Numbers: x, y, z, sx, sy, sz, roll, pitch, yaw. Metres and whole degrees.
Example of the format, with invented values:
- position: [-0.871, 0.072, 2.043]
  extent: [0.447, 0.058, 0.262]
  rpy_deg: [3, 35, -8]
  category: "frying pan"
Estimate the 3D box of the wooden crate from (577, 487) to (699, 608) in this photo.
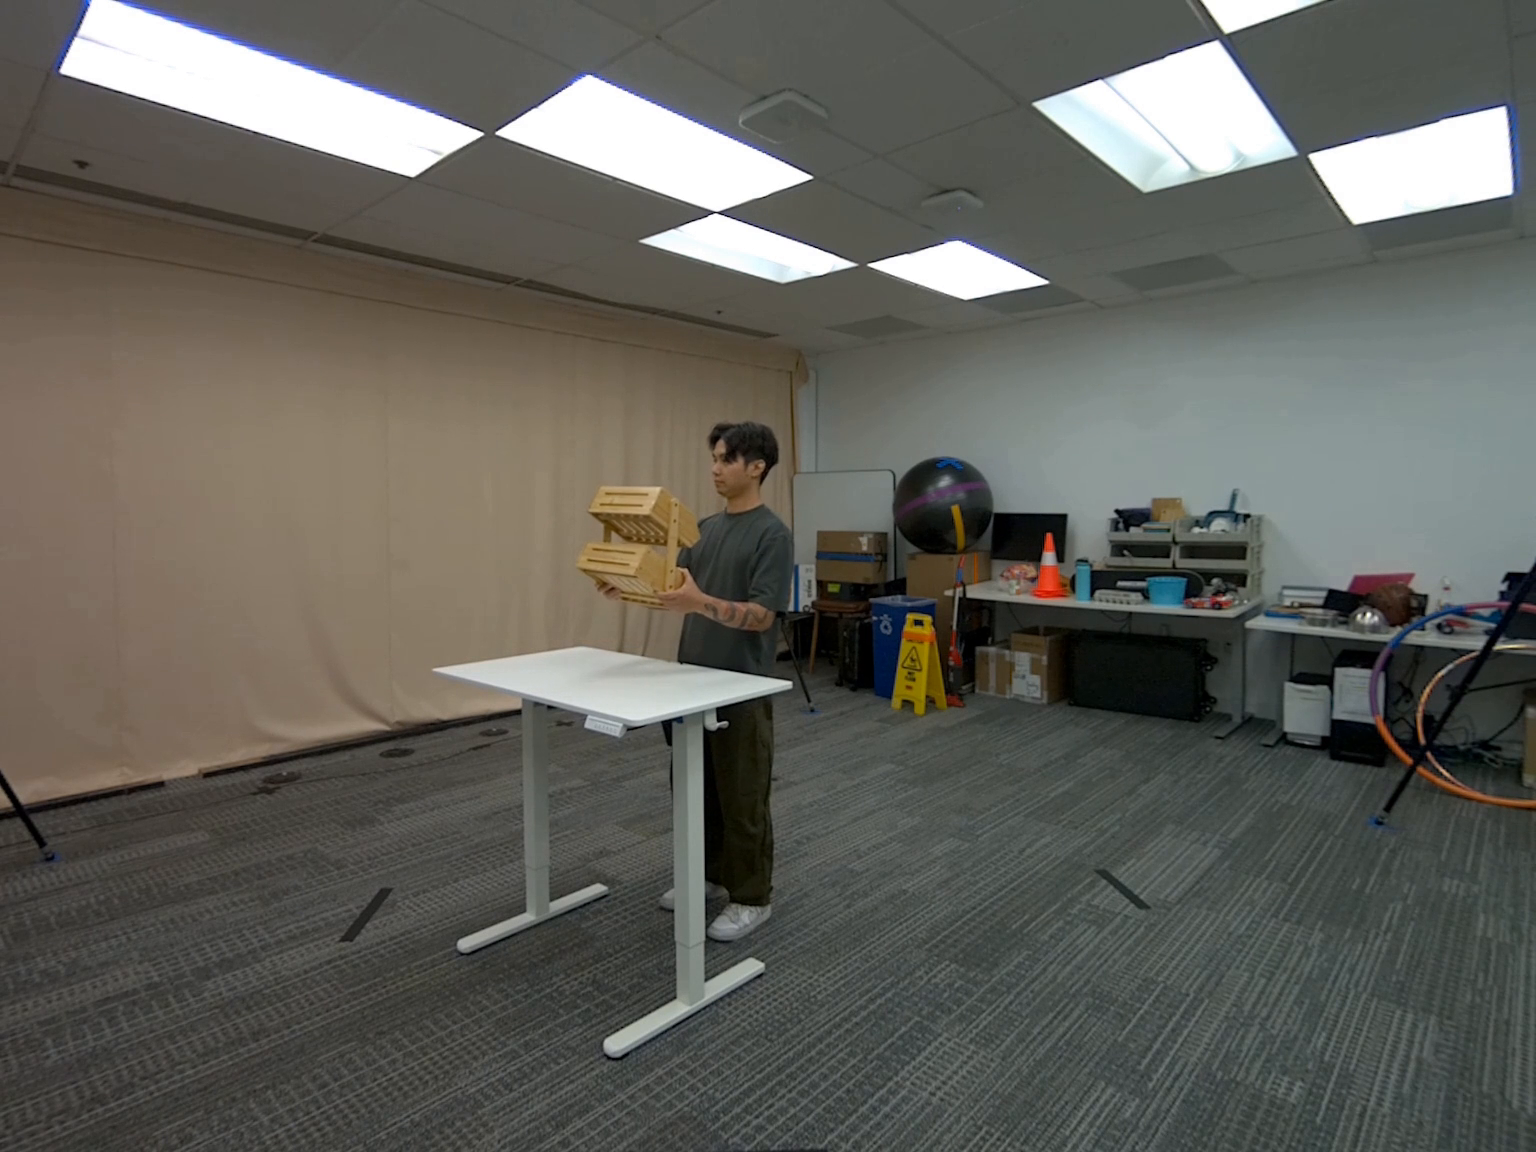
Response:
- position: [-0.378, -0.086, 2.568]
  extent: [0.335, 0.274, 0.291]
  rpy_deg: [6, -26, 43]
  category: "wooden crate"
